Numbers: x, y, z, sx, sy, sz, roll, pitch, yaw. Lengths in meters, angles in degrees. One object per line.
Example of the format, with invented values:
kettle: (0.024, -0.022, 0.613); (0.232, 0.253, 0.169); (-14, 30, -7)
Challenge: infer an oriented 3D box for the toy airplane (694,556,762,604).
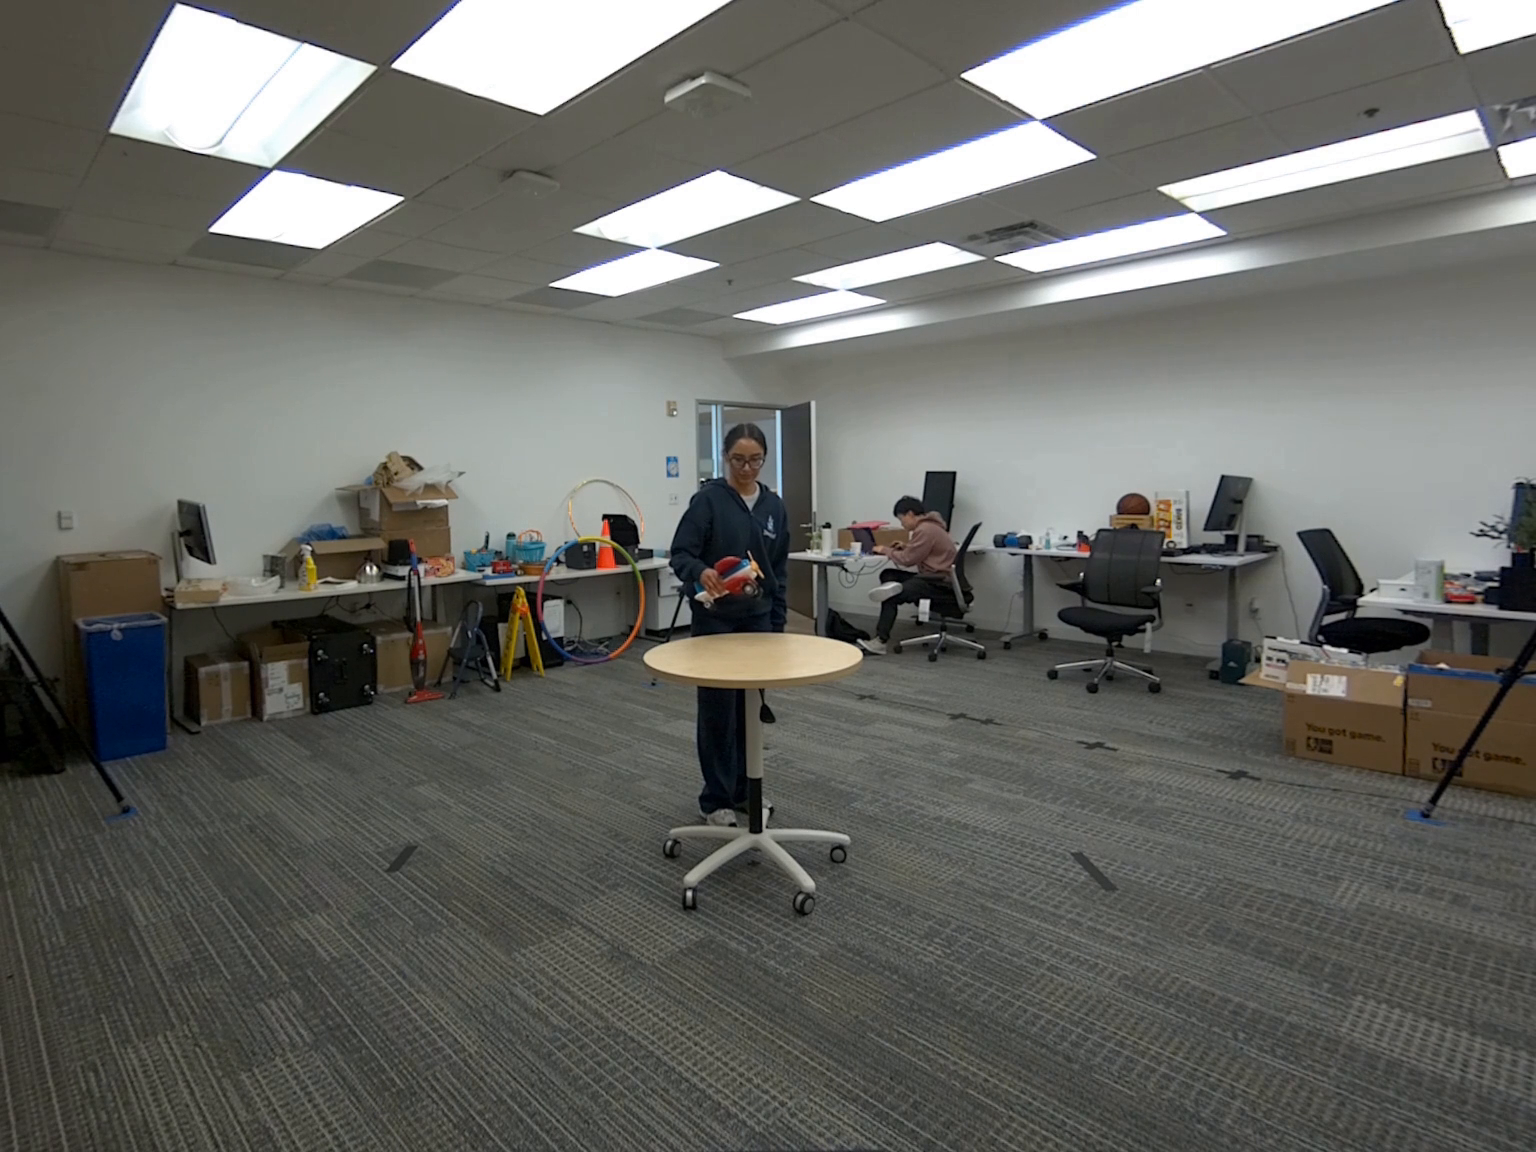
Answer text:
toy airplane: (-0.158, 0.032, 3.225); (0.257, 0.159, 0.249); (-9, -16, -12)
